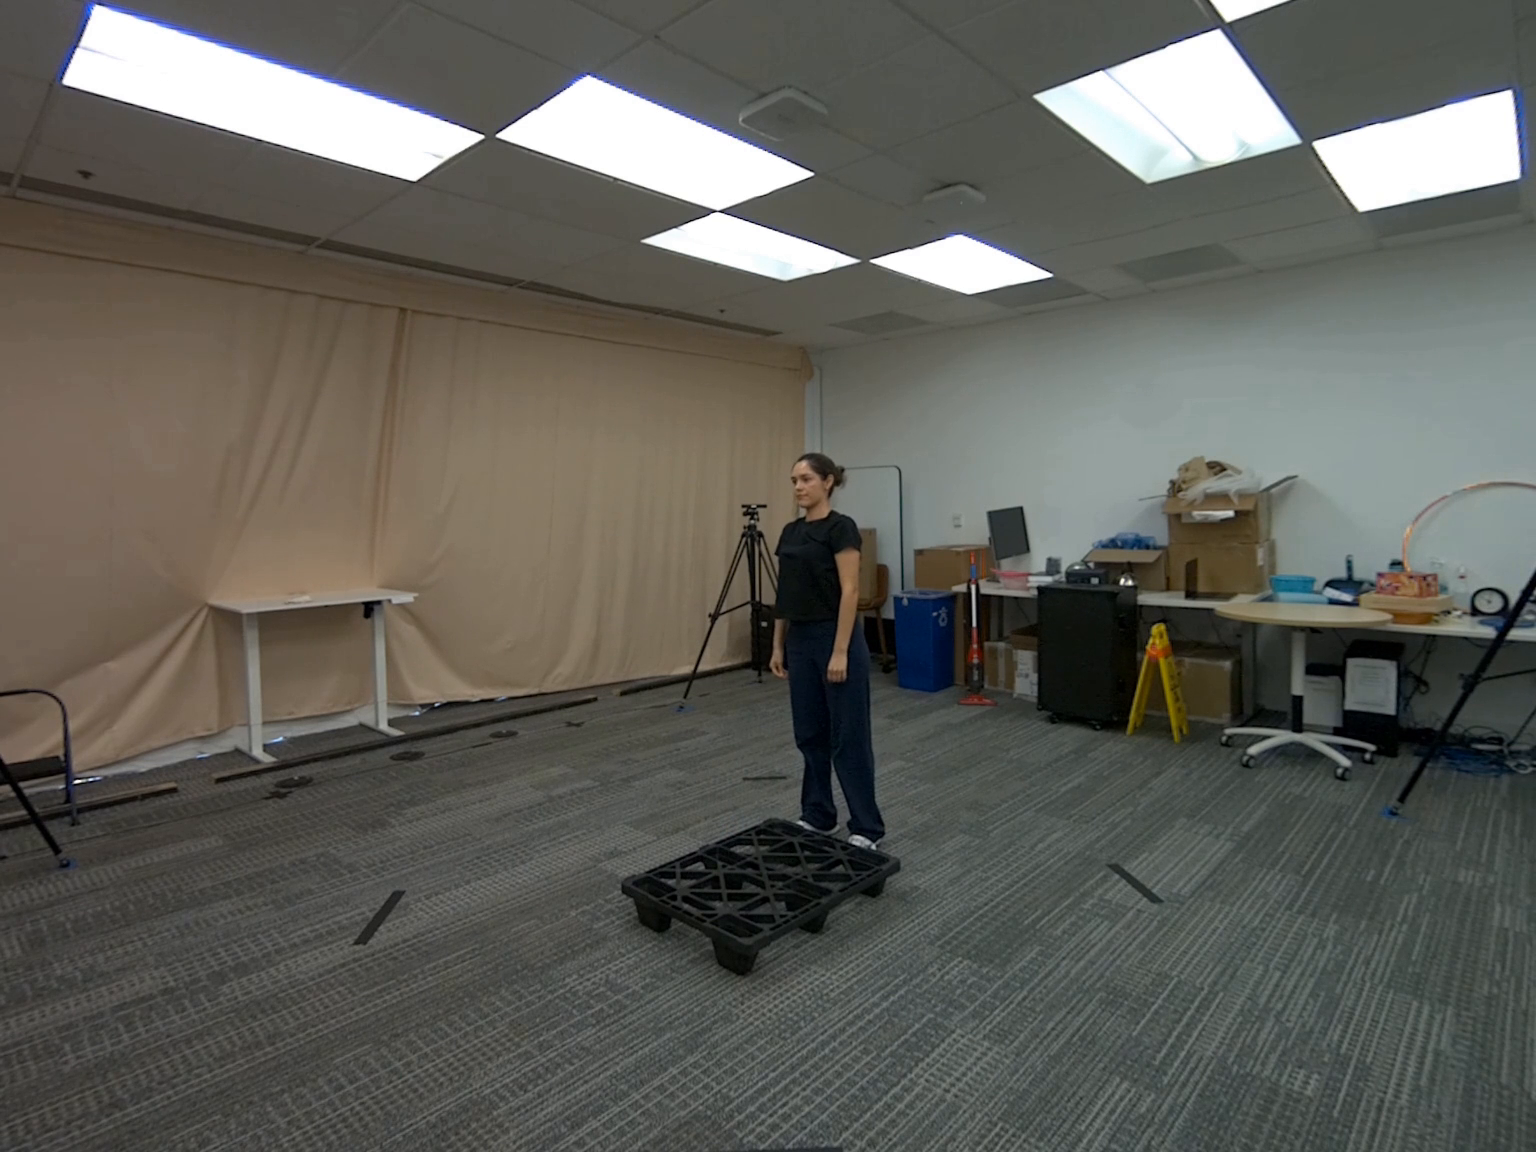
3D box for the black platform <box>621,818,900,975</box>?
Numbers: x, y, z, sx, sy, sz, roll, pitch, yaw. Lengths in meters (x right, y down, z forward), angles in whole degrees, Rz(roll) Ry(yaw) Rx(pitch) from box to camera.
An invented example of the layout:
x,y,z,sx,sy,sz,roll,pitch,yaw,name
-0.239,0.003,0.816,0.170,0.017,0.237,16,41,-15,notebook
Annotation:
x,y,z,sx,sy,sz,roll,pitch,yaw,name
-0.006,1.084,2.902,0.625,0.143,0.781,3,6,43,black platform
